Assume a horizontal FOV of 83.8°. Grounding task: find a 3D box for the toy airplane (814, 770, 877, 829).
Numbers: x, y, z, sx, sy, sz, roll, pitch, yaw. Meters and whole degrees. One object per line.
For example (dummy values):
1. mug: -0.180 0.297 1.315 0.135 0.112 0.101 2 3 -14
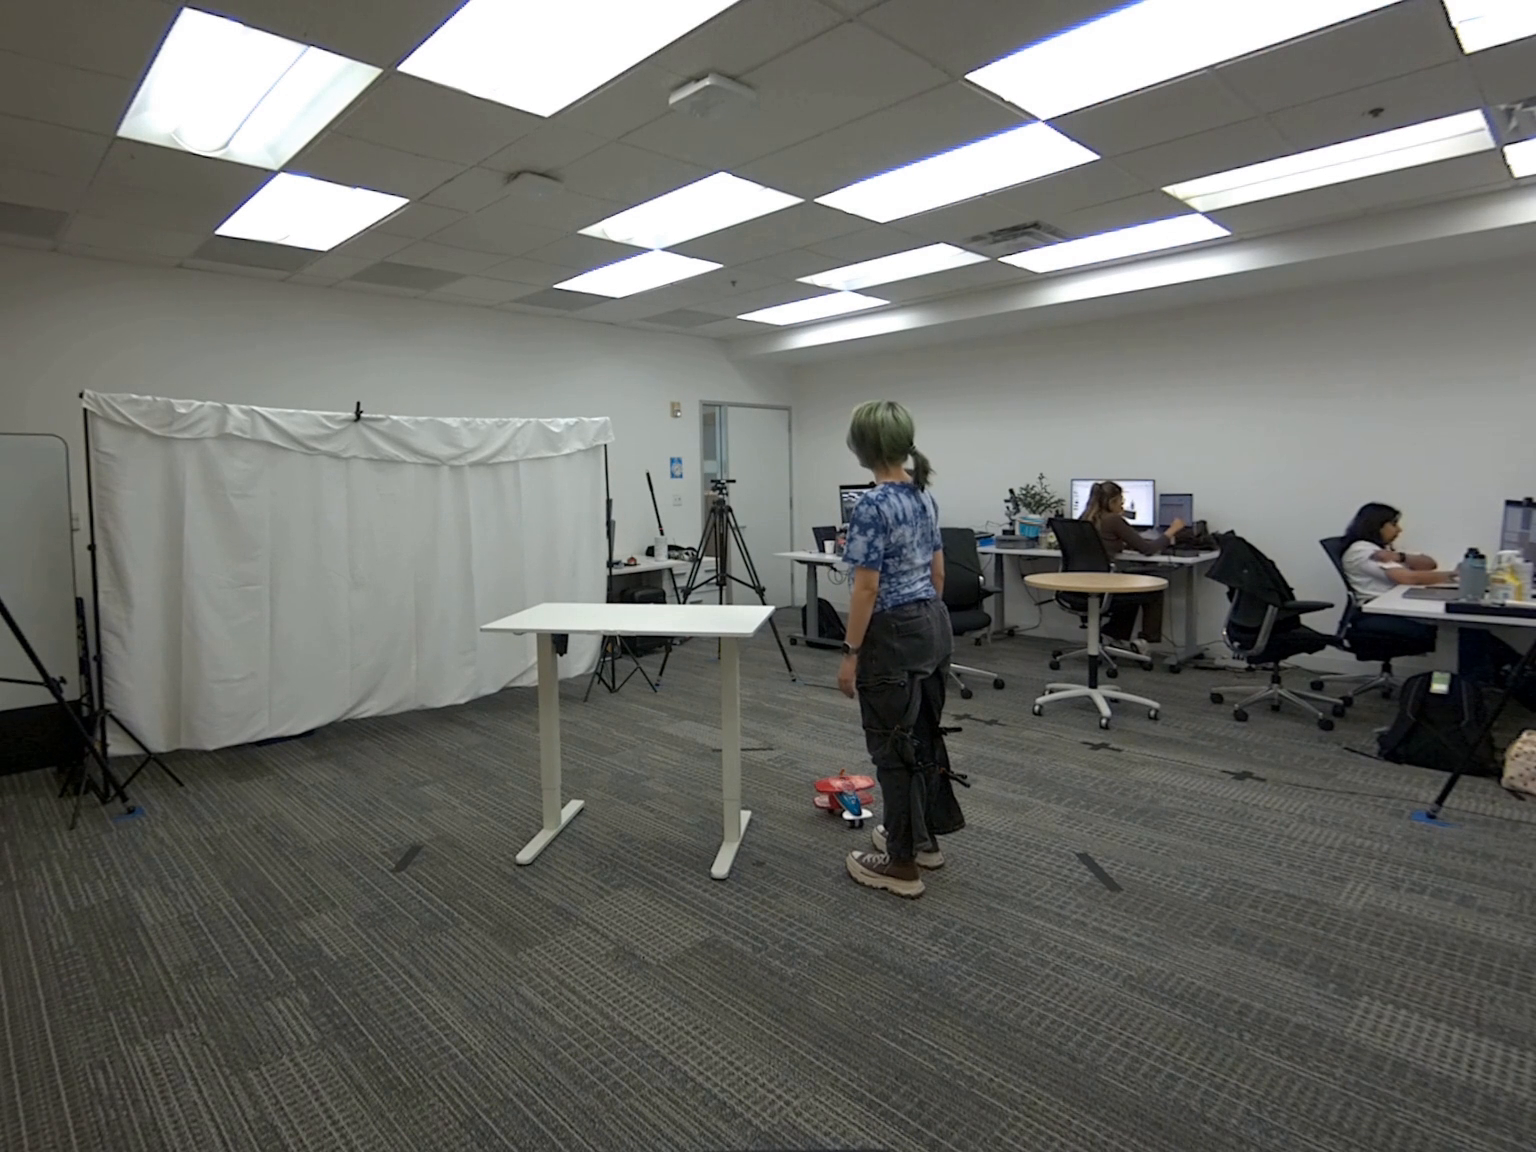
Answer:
1. toy airplane: 0.345 0.923 3.506 0.244 0.156 0.267 -6 8 -42
